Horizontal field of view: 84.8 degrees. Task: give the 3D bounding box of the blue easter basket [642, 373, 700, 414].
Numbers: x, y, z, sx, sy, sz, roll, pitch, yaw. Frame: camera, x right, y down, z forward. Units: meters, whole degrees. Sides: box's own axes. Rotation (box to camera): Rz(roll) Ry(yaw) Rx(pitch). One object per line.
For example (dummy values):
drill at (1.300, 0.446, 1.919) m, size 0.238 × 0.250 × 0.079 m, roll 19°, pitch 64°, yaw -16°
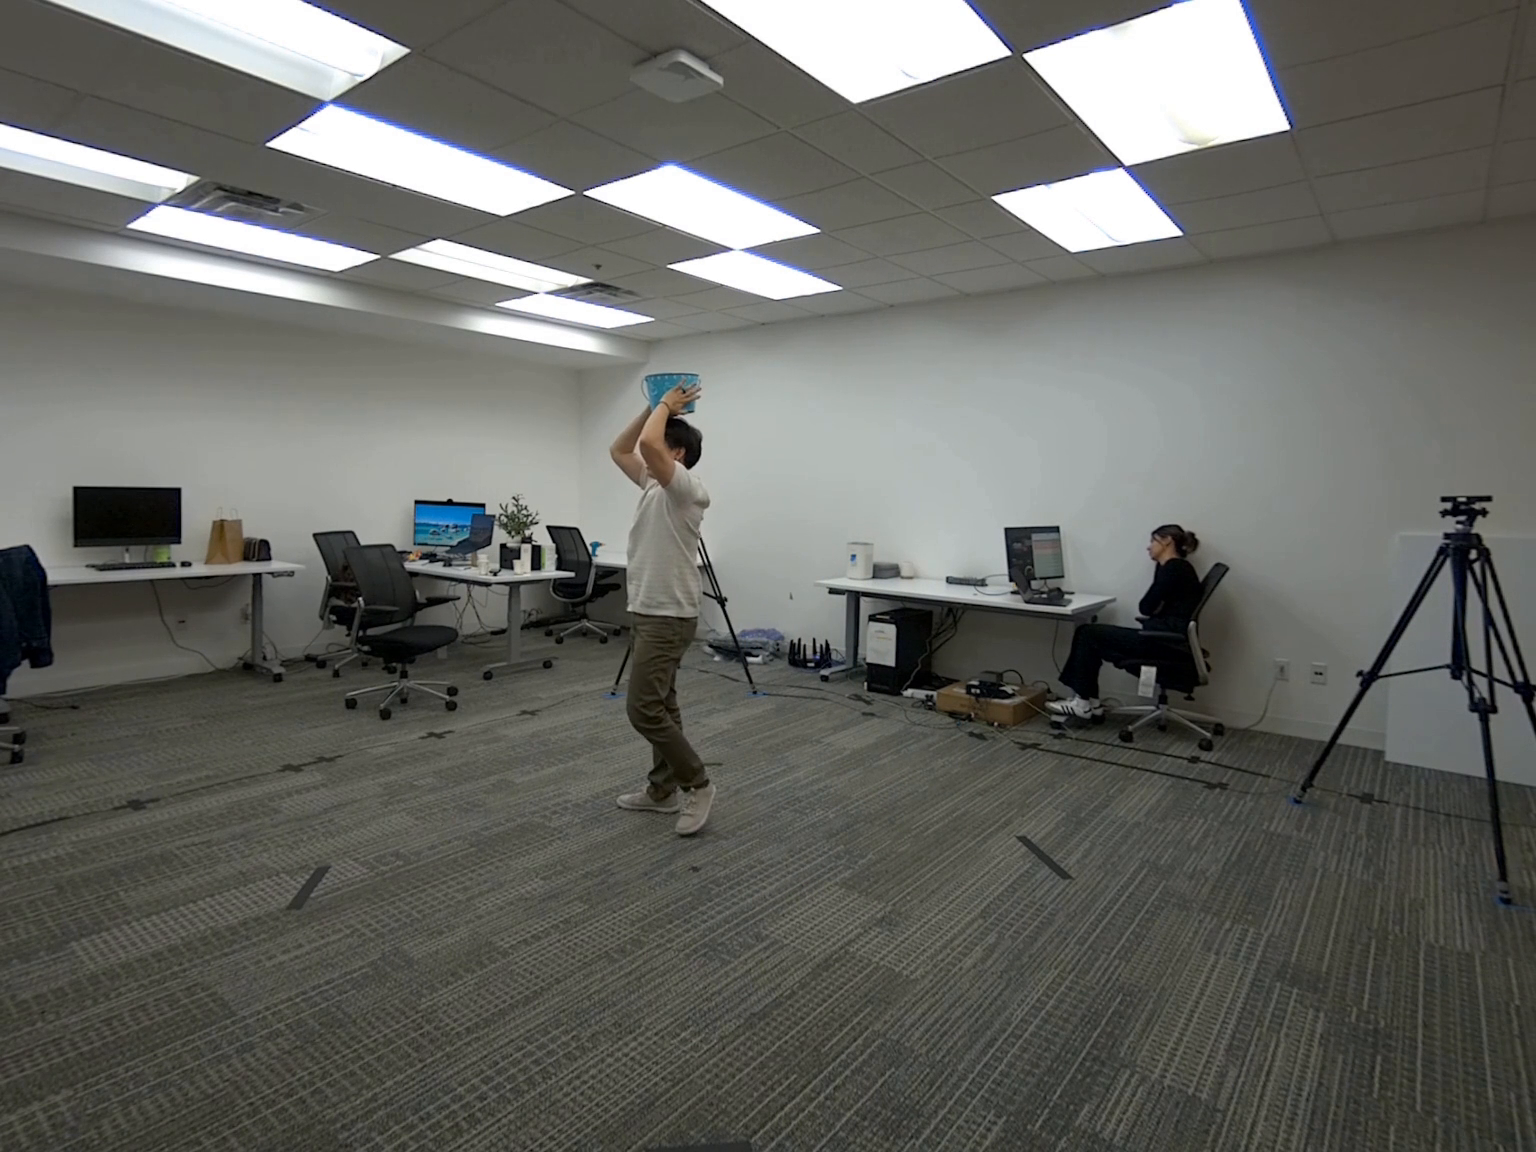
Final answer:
blue easter basket at (-0.411, -0.763, 3.553) m, size 0.243 × 0.155 × 0.245 m, roll -3°, pitch 5°, yaw -2°
